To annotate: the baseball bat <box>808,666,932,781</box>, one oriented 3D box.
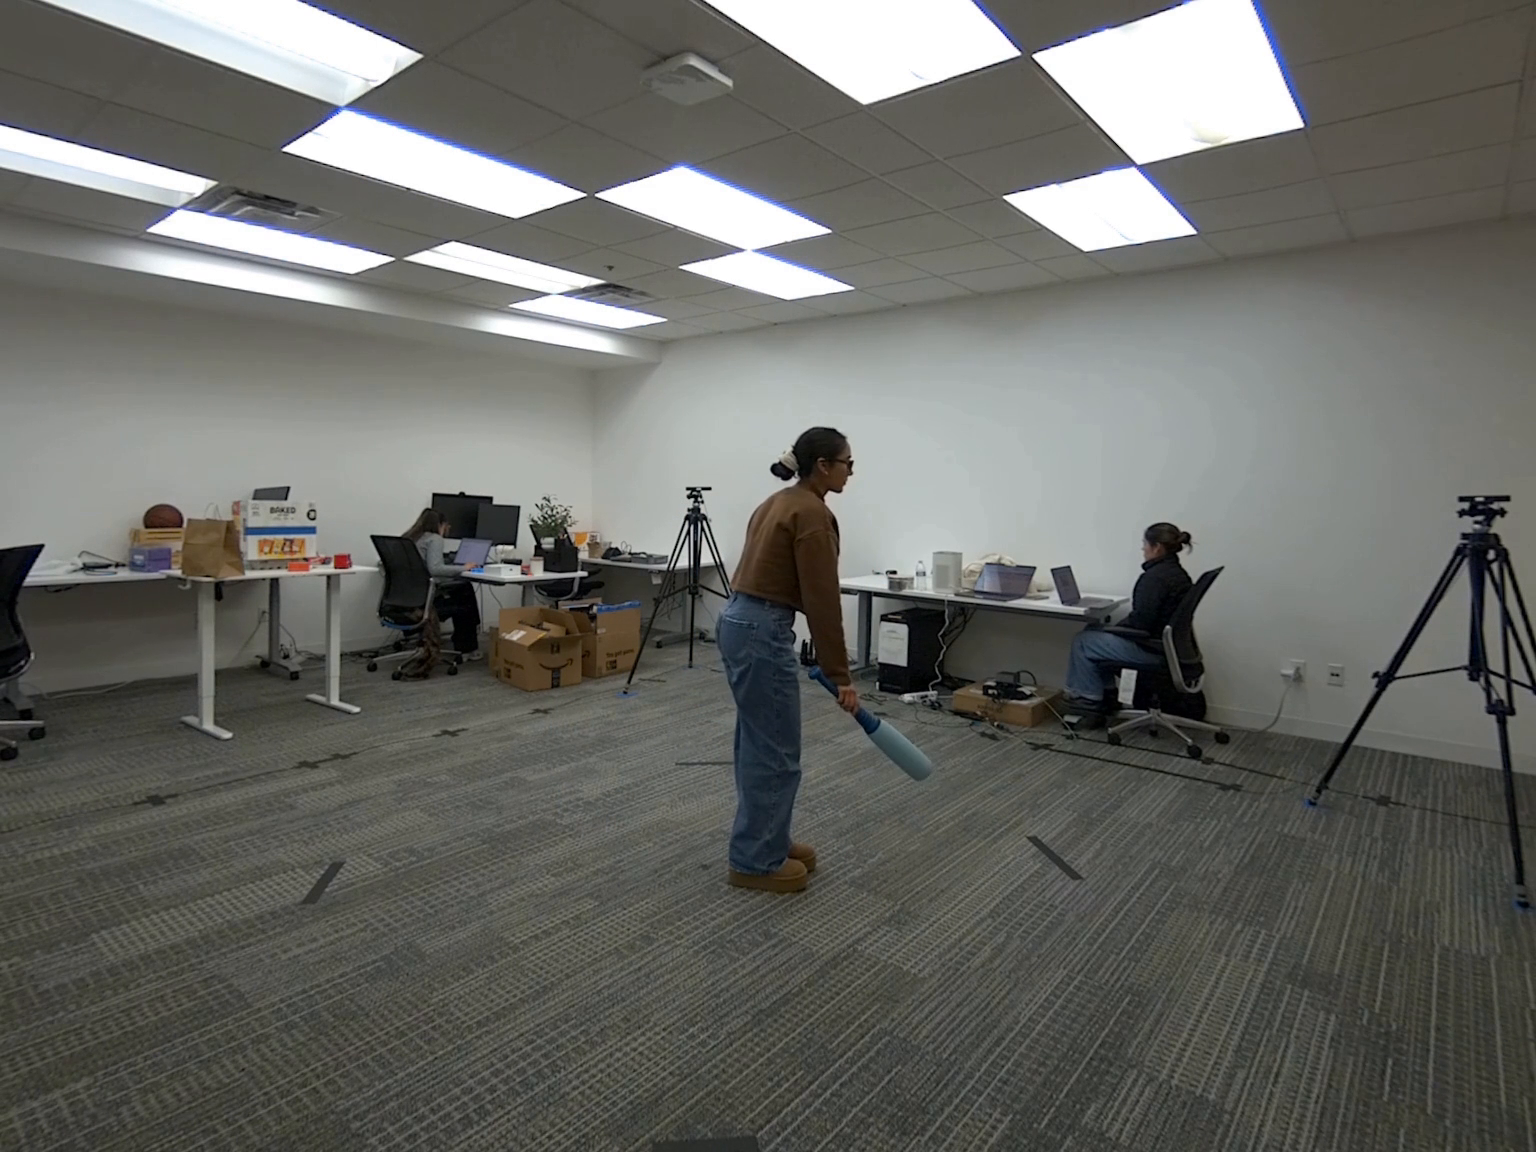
[{"bbox_3d":[0.318,0.491,2.806,0.534,0.089,0.090,42,-7,-12],"label":"baseball bat"}]
